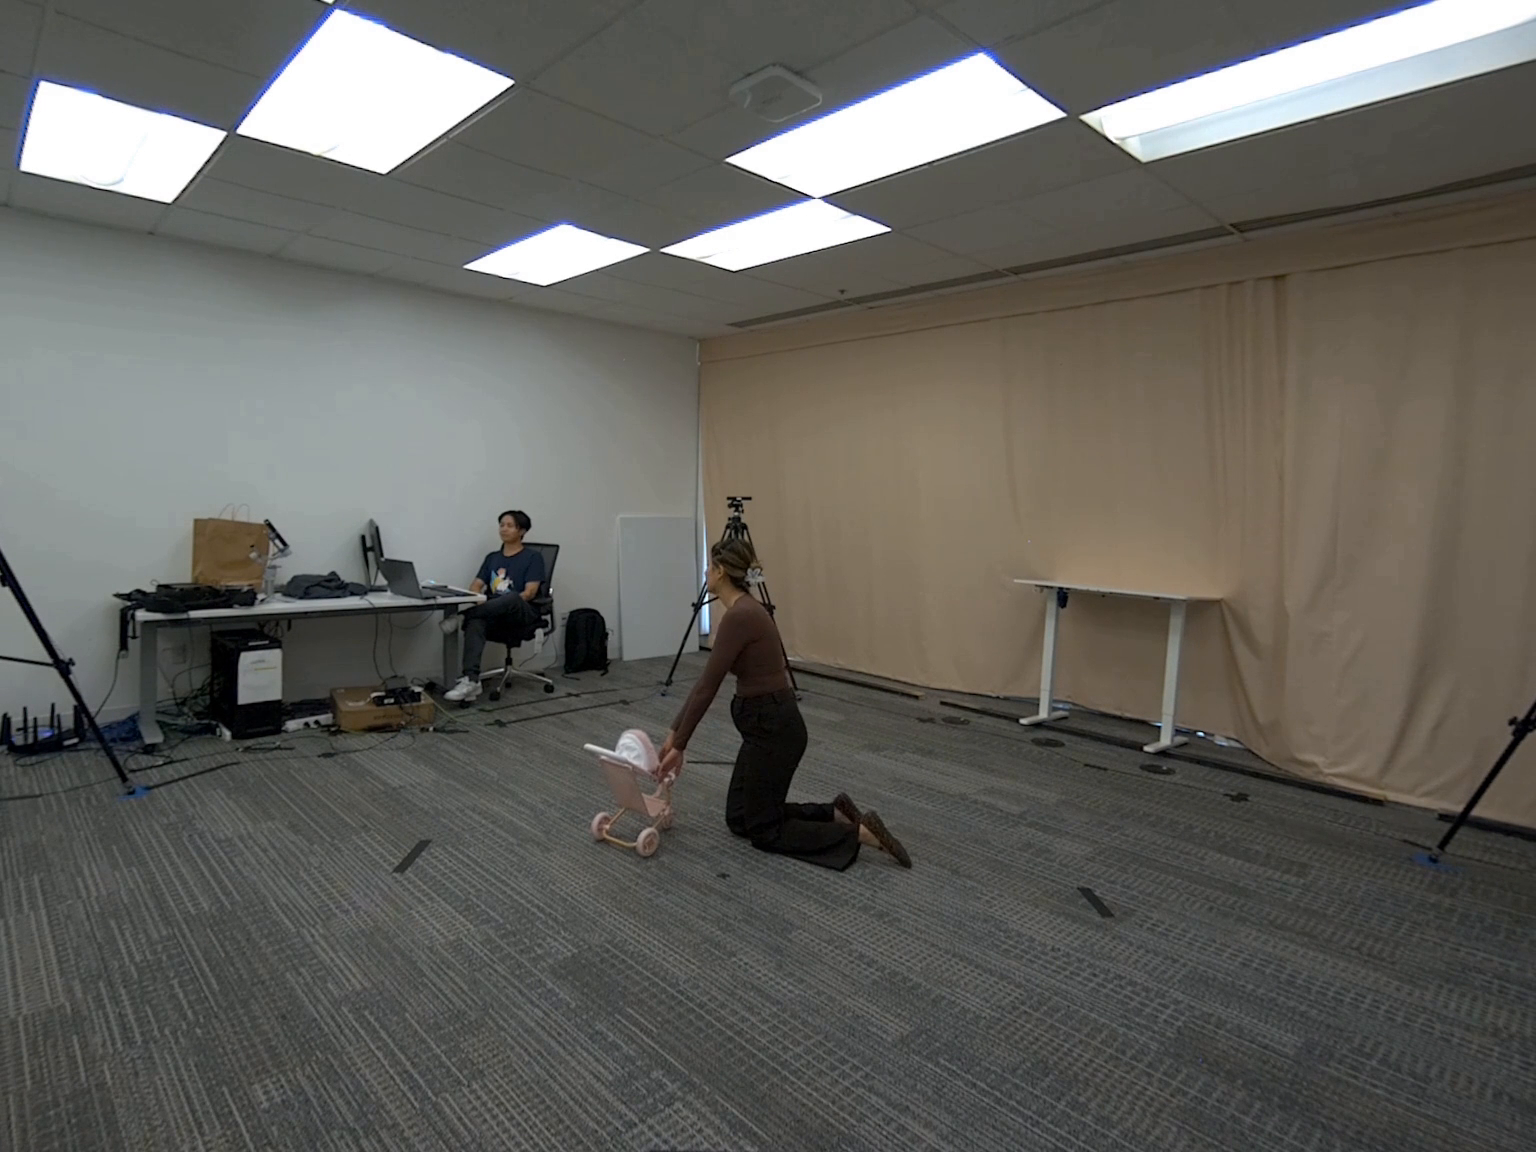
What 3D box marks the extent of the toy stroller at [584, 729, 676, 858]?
[{"bbox_3d":[-0.526,0.844,3.369,0.288,0.528,0.337,6,20,39],"label":"toy stroller"}]
